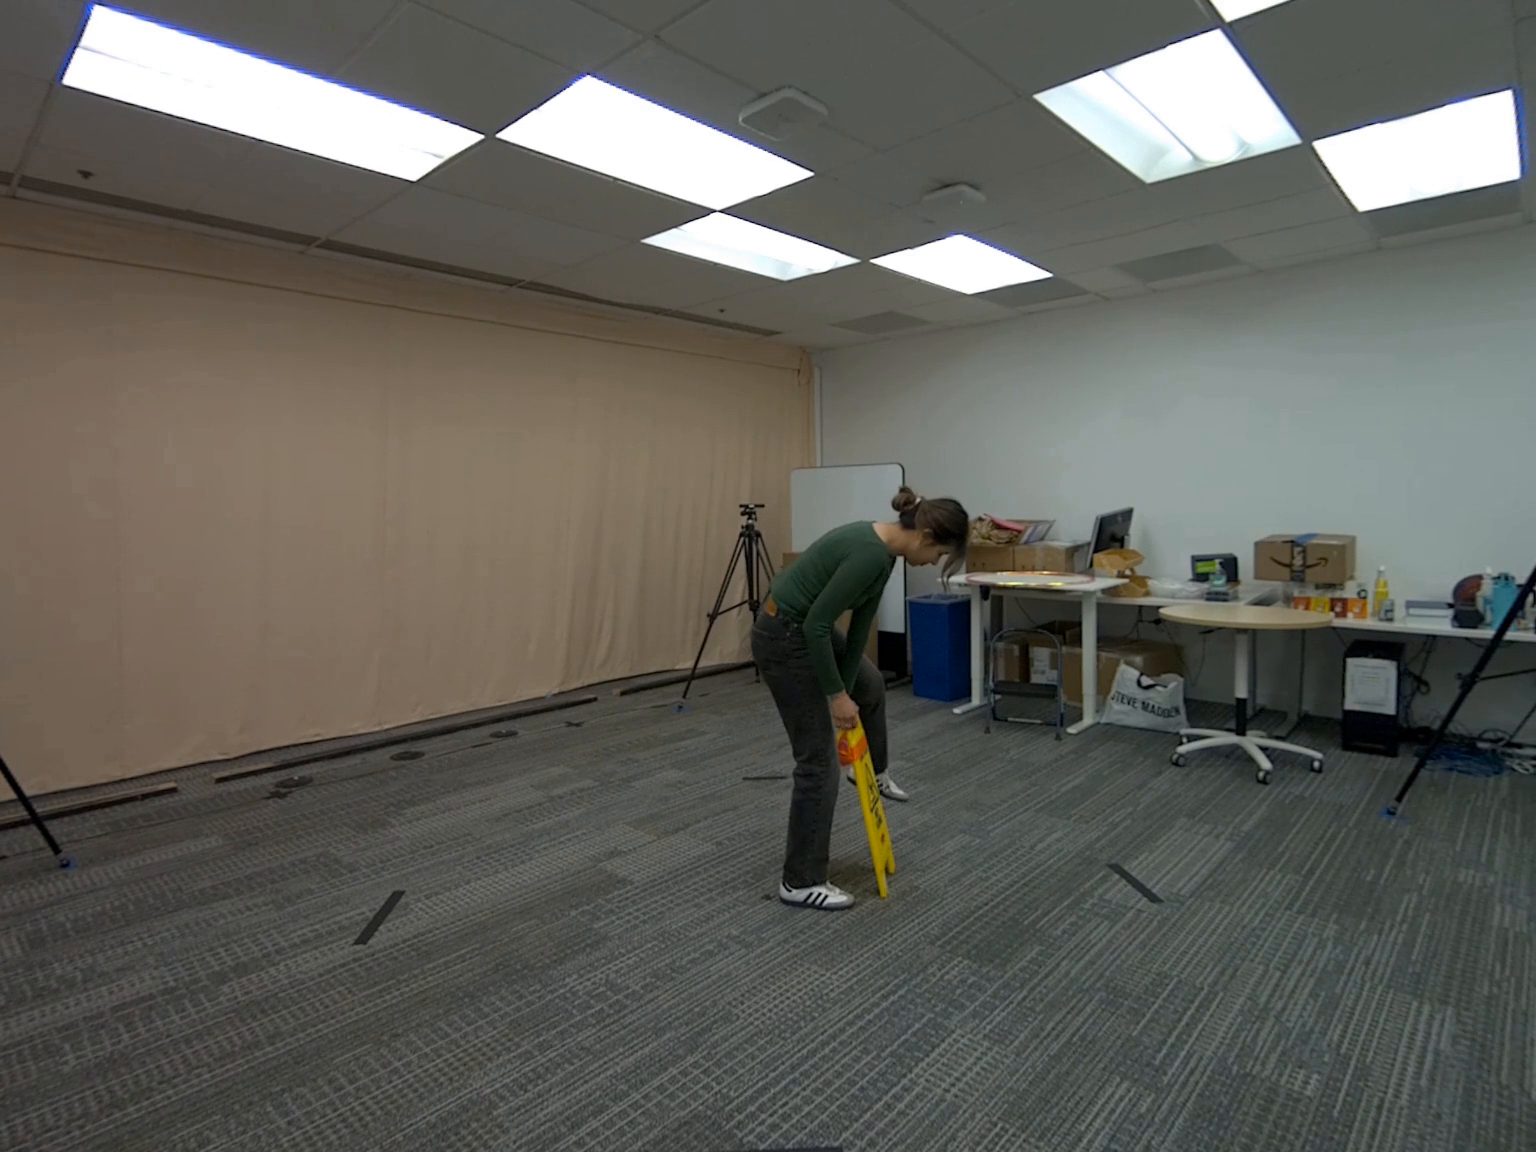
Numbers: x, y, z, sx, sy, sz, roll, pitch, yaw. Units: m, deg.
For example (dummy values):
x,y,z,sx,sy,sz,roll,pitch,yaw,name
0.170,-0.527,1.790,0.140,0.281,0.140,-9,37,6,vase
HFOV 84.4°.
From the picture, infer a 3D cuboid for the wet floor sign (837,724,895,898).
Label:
x,y,z,sx,sy,sz,roll,pitch,yaw,name
0.302,0.800,3.119,0.295,0.645,0.277,0,3,17,wet floor sign
